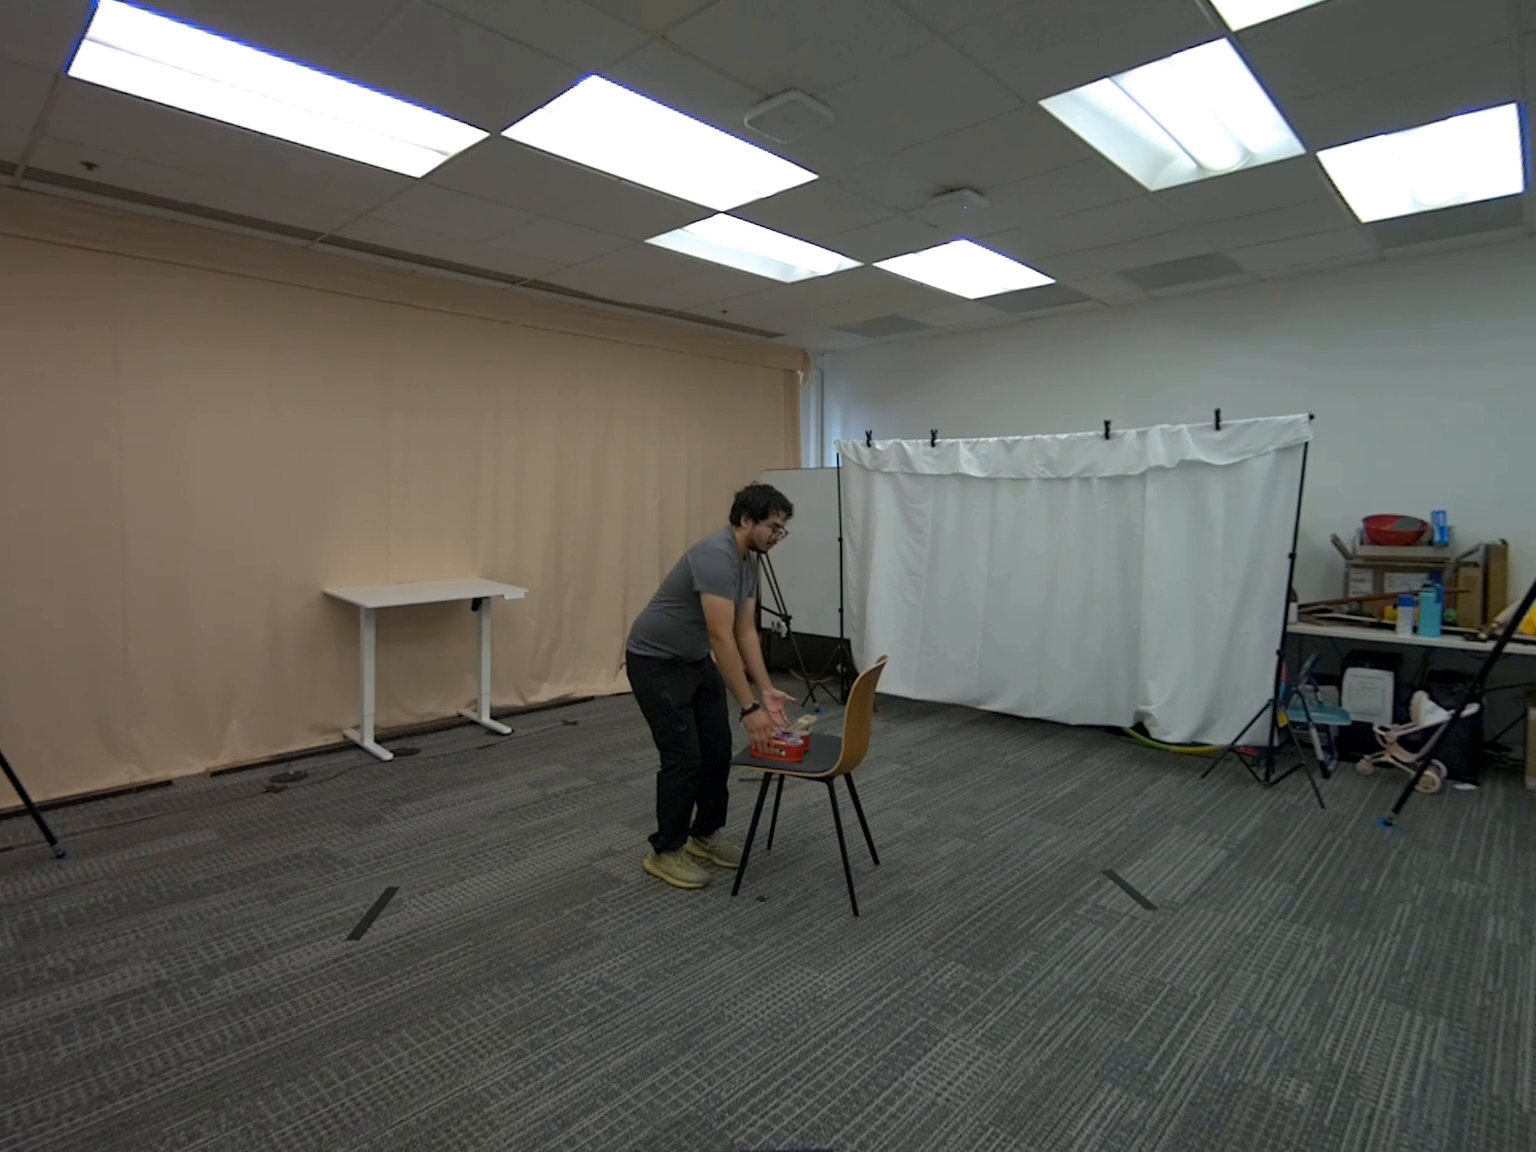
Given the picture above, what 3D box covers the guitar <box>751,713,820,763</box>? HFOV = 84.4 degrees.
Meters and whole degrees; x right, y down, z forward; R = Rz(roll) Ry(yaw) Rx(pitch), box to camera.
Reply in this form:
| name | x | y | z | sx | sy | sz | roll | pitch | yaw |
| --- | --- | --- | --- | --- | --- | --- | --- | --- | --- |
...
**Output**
| name | x | y | z | sx | sy | sz | roll | pitch | yaw |
| --- | --- | --- | --- | --- | --- | --- | --- | --- | --- |
| guitar | 0.129 | 0.611 | 3.193 | 0.199 | 0.070 | 0.484 | 3 | 5 | 30 |
